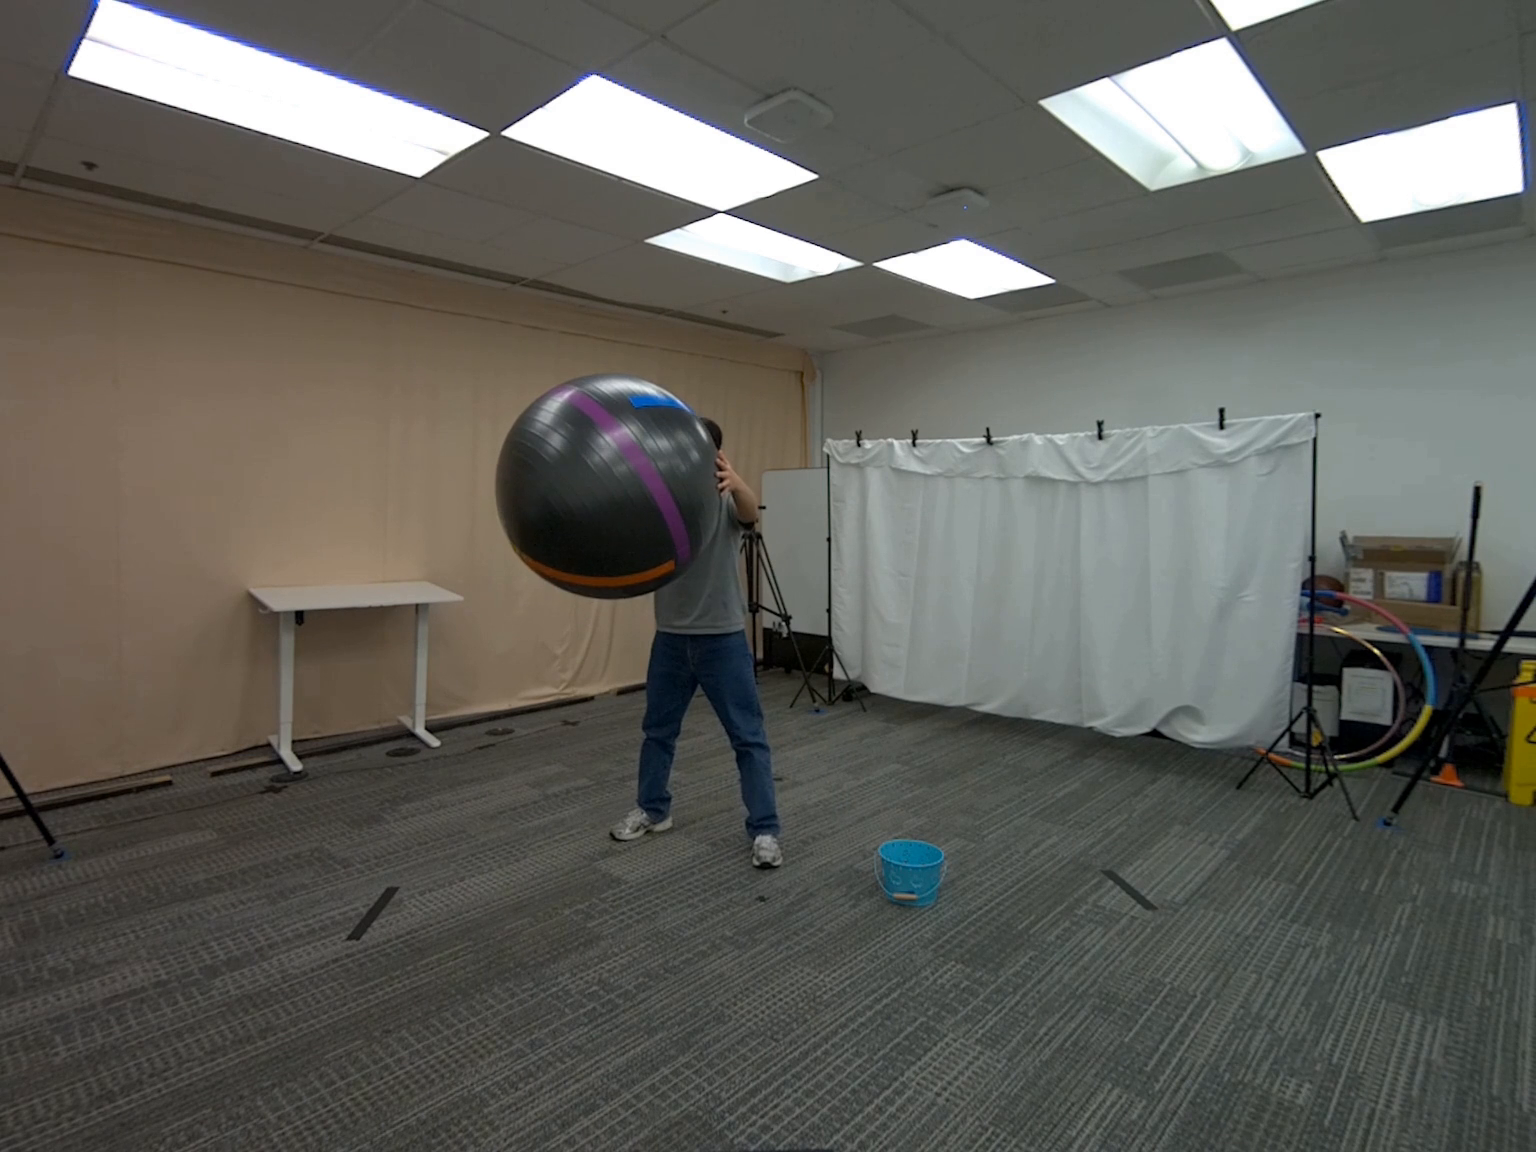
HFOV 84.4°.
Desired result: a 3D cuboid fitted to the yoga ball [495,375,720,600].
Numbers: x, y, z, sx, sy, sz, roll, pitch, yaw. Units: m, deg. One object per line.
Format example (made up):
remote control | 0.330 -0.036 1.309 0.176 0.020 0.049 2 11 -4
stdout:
yoga ball | -0.542 -0.278 2.846 0.757 0.756 0.760 0 4 -2
